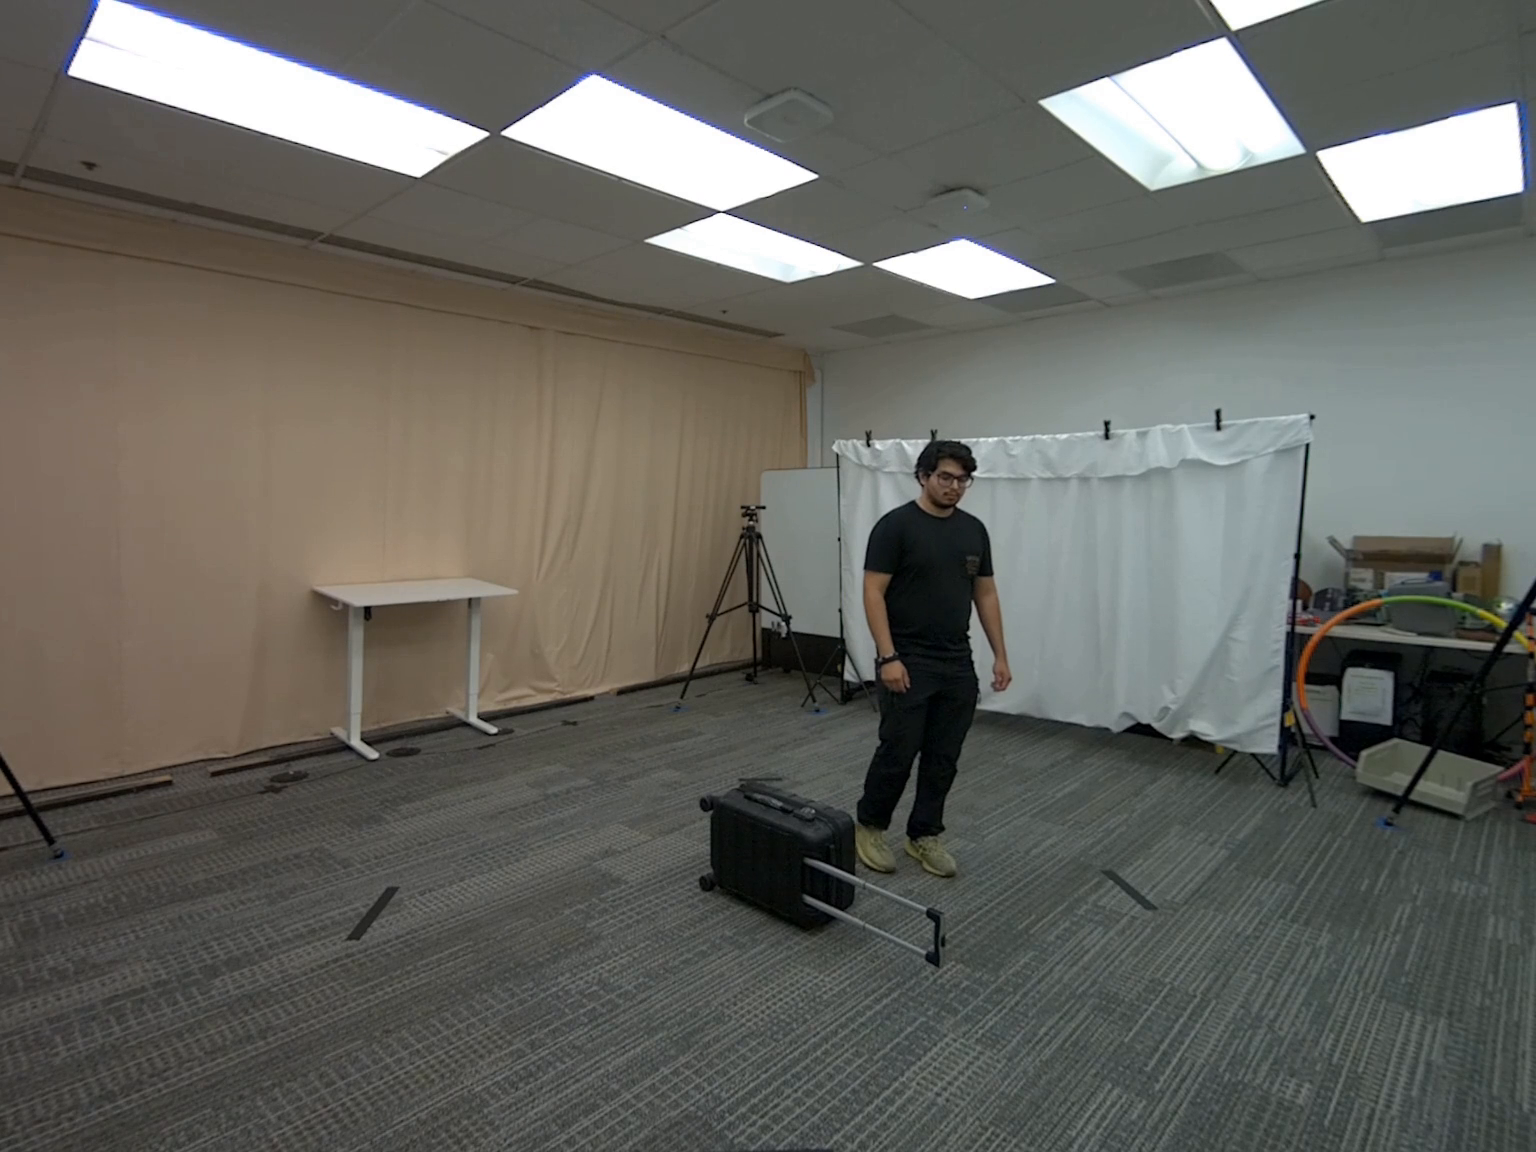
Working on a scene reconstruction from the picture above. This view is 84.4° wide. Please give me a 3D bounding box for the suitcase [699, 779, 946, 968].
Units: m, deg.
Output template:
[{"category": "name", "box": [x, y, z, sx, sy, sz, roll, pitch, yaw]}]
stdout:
[{"category": "suitcase", "box": [0.199, 0.971, 2.795, 1.012, 0.383, 0.249, 5, 6, 42]}]
